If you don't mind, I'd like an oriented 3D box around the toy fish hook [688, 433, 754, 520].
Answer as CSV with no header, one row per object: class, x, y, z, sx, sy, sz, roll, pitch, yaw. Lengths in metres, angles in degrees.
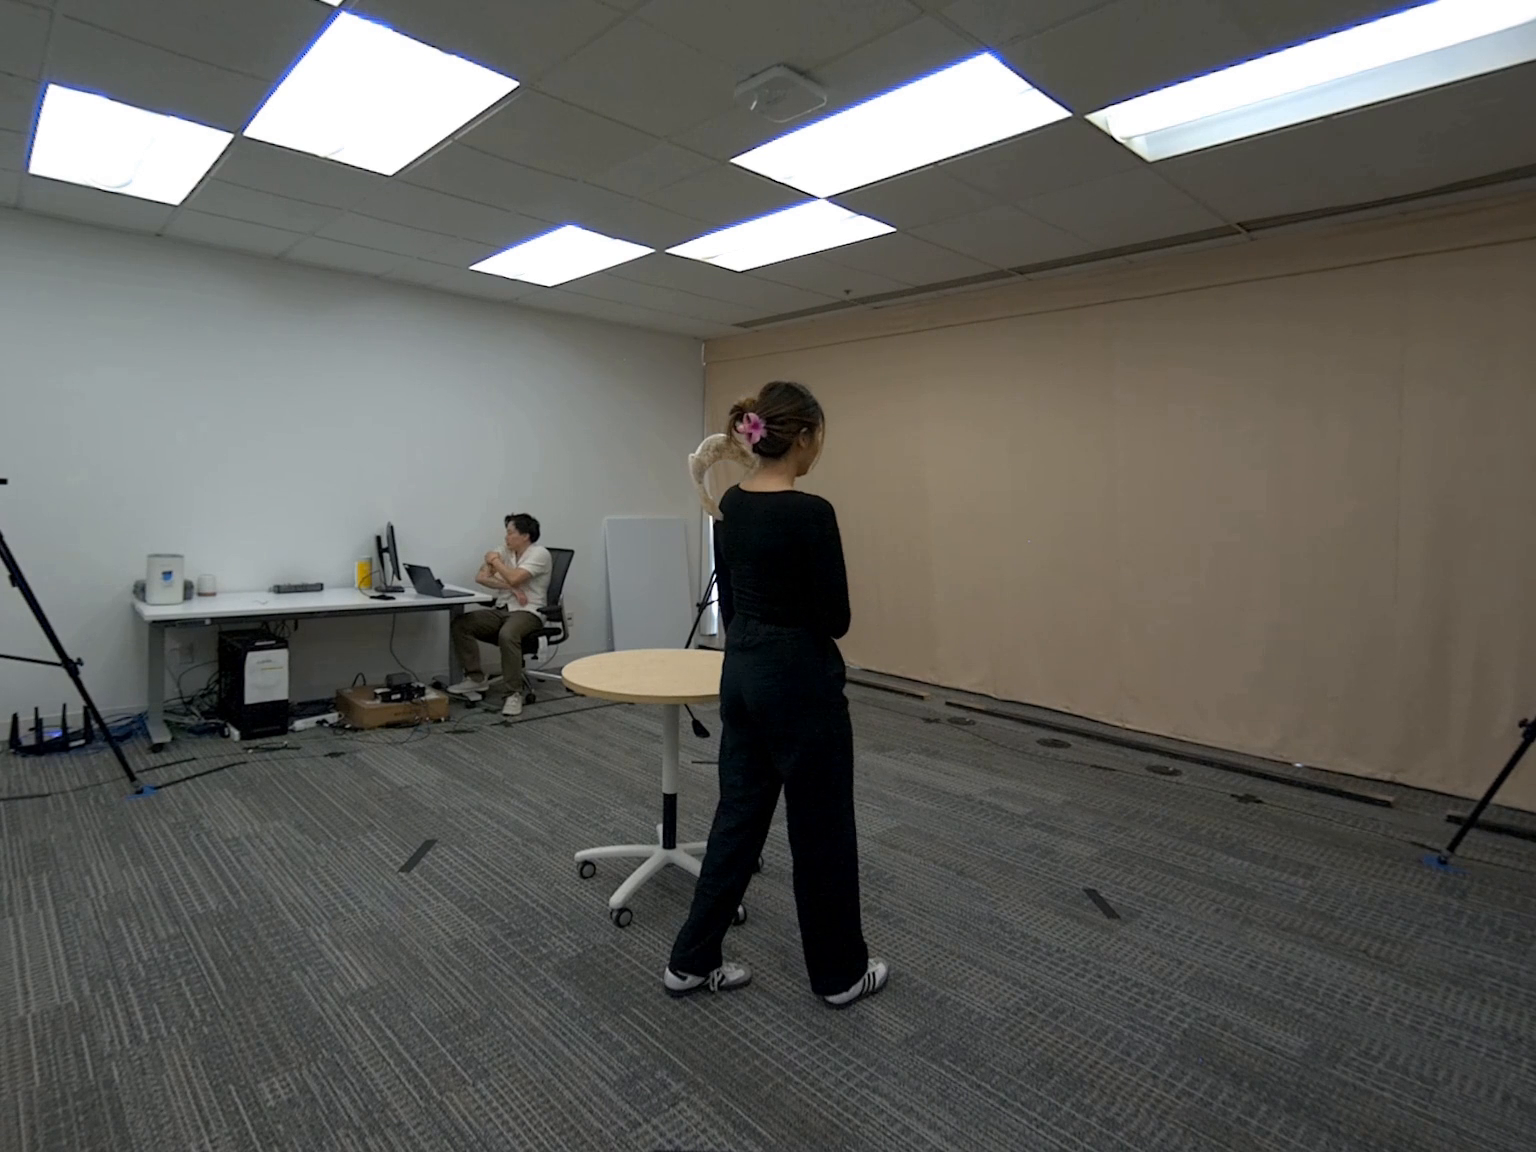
toy fish hook,-0.039,-0.174,2.374,0.224,0.498,0.049,-46,17,-21
